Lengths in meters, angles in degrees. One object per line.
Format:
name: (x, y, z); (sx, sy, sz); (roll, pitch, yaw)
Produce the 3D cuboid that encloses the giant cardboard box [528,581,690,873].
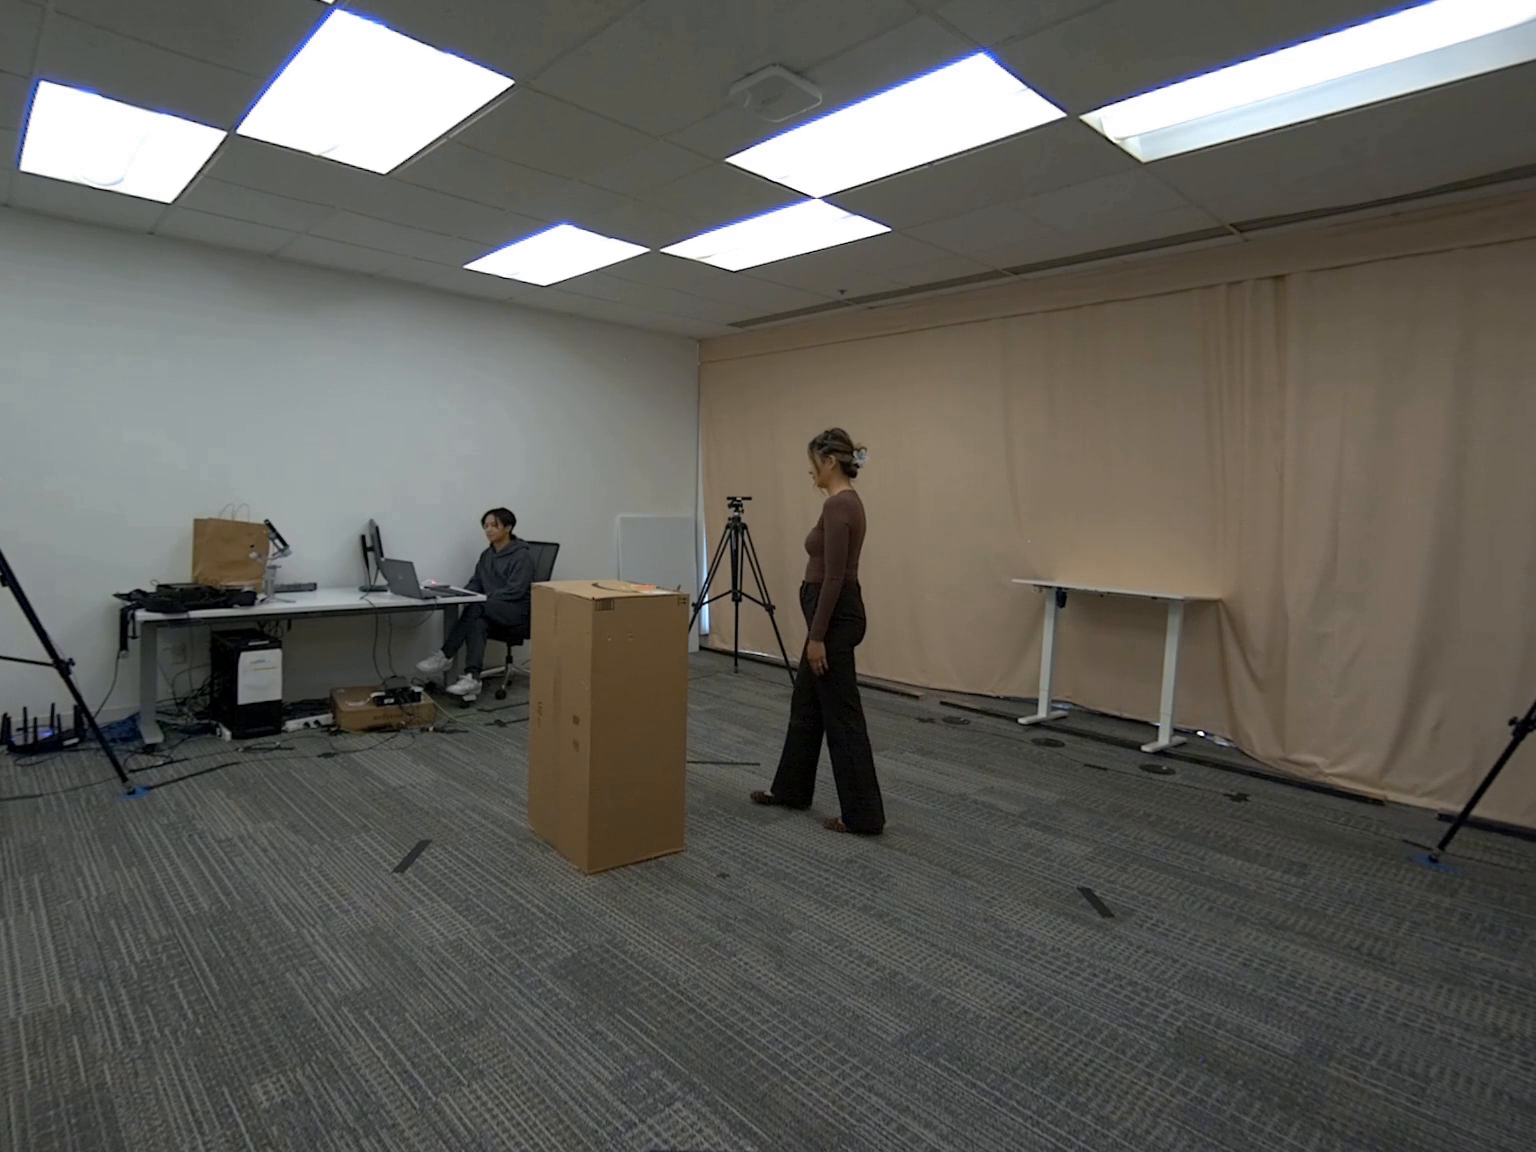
giant cardboard box: (-0.662, 0.557, 3.403); (0.437, 1.025, 0.598); (0, 4, -36)
